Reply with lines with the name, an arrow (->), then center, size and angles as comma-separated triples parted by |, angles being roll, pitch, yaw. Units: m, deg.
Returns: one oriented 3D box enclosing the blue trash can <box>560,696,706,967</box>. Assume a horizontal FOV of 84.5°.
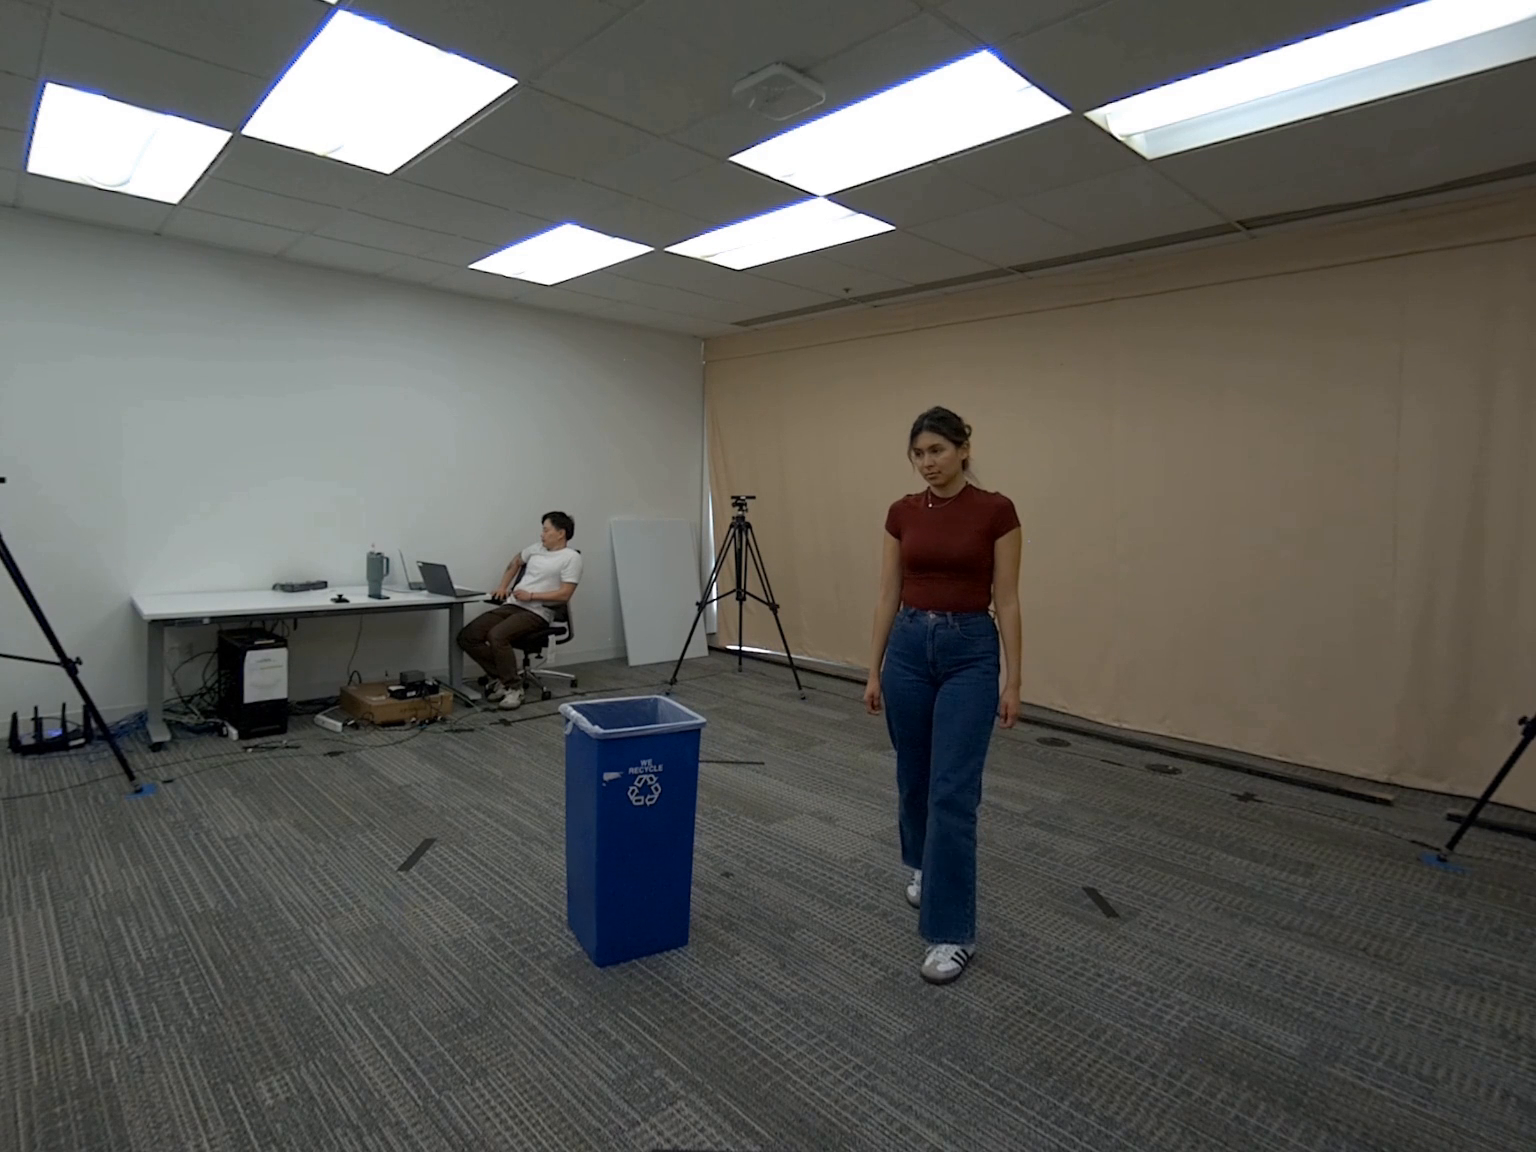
blue trash can -> -0.439, 0.777, 2.655 | 0.366, 0.712, 0.387 | -1, 4, -32
